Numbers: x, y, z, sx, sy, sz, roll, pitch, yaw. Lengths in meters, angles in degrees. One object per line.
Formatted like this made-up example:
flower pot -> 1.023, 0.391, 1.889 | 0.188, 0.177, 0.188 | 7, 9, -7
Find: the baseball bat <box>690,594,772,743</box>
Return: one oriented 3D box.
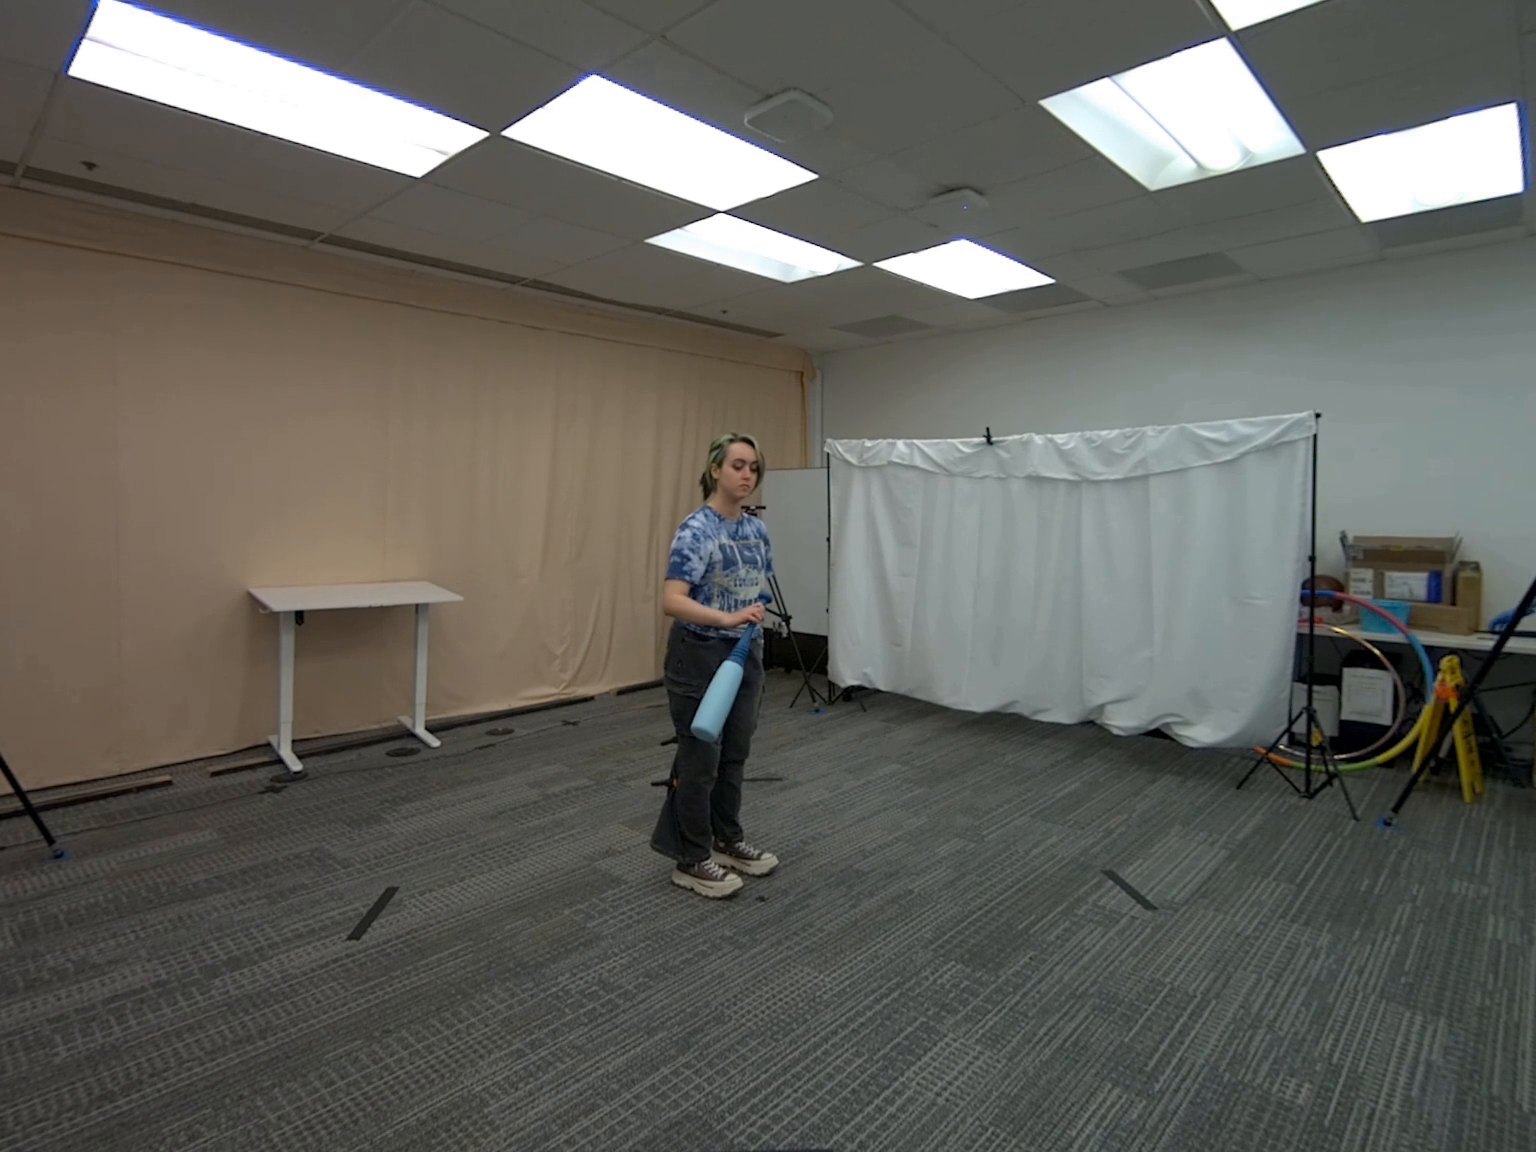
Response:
baseball bat -> -0.088, 0.274, 2.644 | 0.090, 0.544, 0.087 | 18, -35, 11
